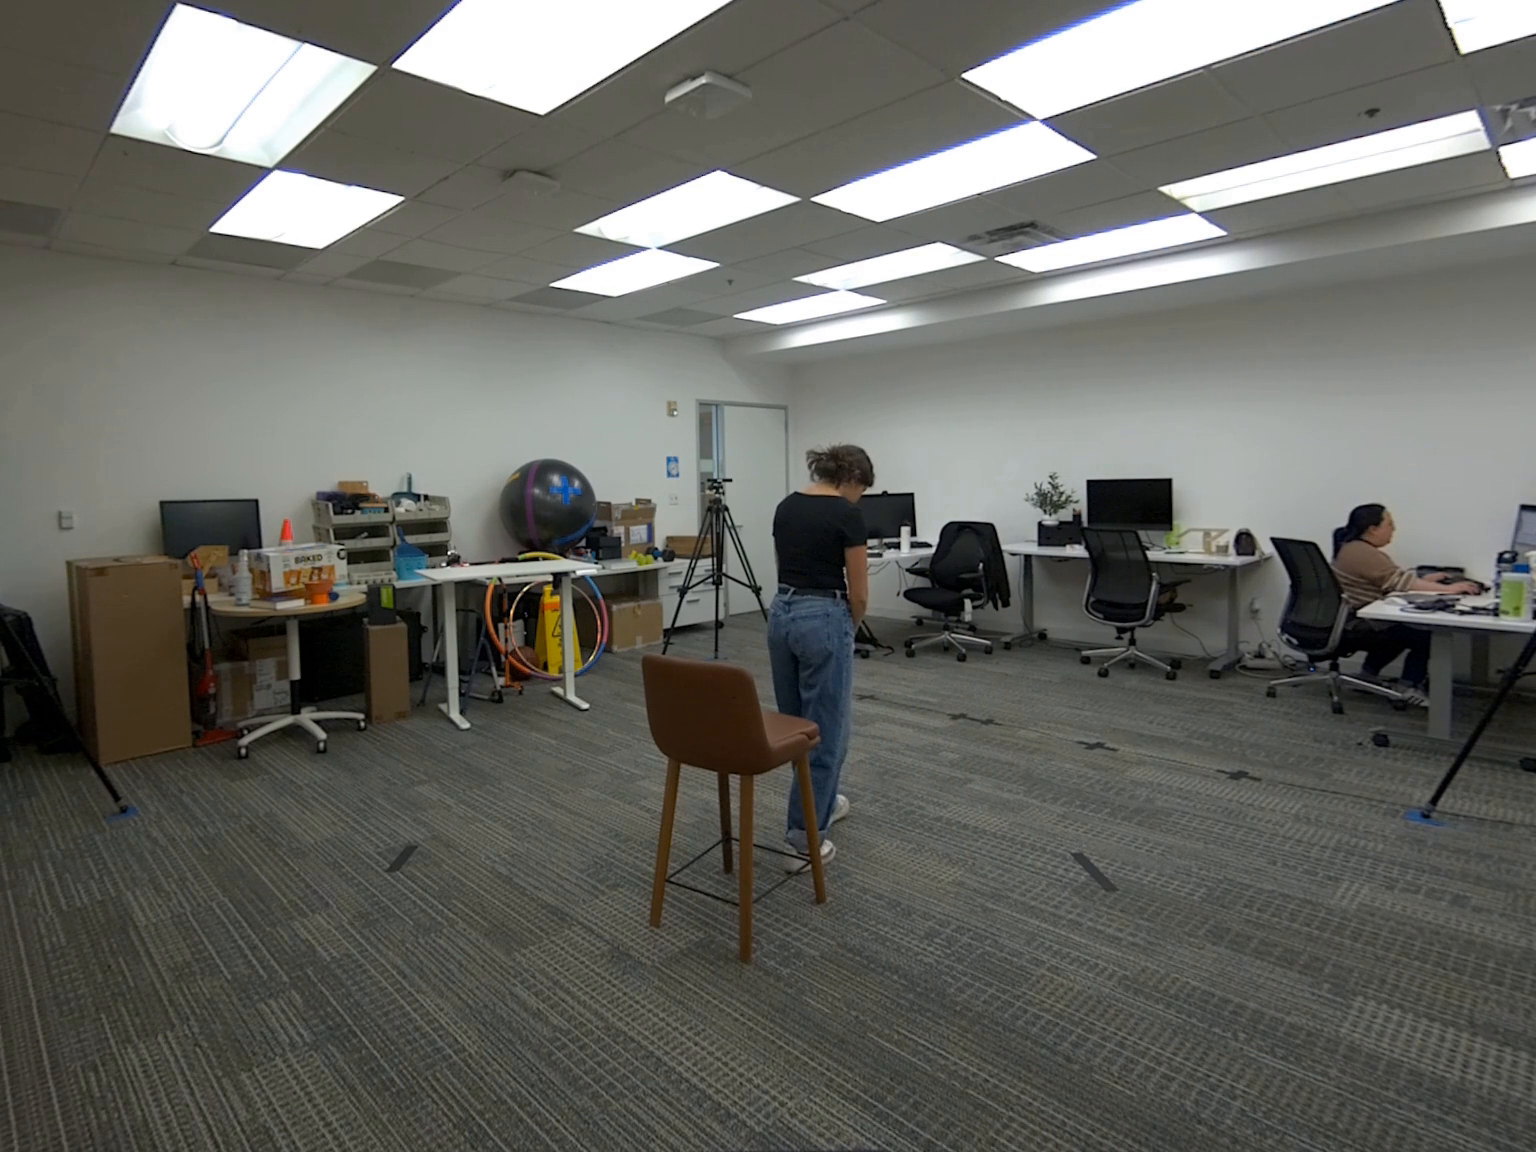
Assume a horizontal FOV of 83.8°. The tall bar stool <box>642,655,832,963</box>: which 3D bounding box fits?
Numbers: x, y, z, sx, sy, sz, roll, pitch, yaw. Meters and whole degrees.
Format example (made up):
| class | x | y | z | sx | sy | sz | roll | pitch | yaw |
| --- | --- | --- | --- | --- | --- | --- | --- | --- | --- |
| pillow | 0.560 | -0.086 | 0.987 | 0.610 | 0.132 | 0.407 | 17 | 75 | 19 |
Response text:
| class | x | y | z | sx | sy | sz | roll | pitch | yaw |
| --- | --- | --- | --- | --- | --- | --- | --- | --- | --- |
| tall bar stool | -0.108 | 0.655 | 2.725 | 0.469 | 0.885 | 0.457 | 2 | 7 | 35 |
